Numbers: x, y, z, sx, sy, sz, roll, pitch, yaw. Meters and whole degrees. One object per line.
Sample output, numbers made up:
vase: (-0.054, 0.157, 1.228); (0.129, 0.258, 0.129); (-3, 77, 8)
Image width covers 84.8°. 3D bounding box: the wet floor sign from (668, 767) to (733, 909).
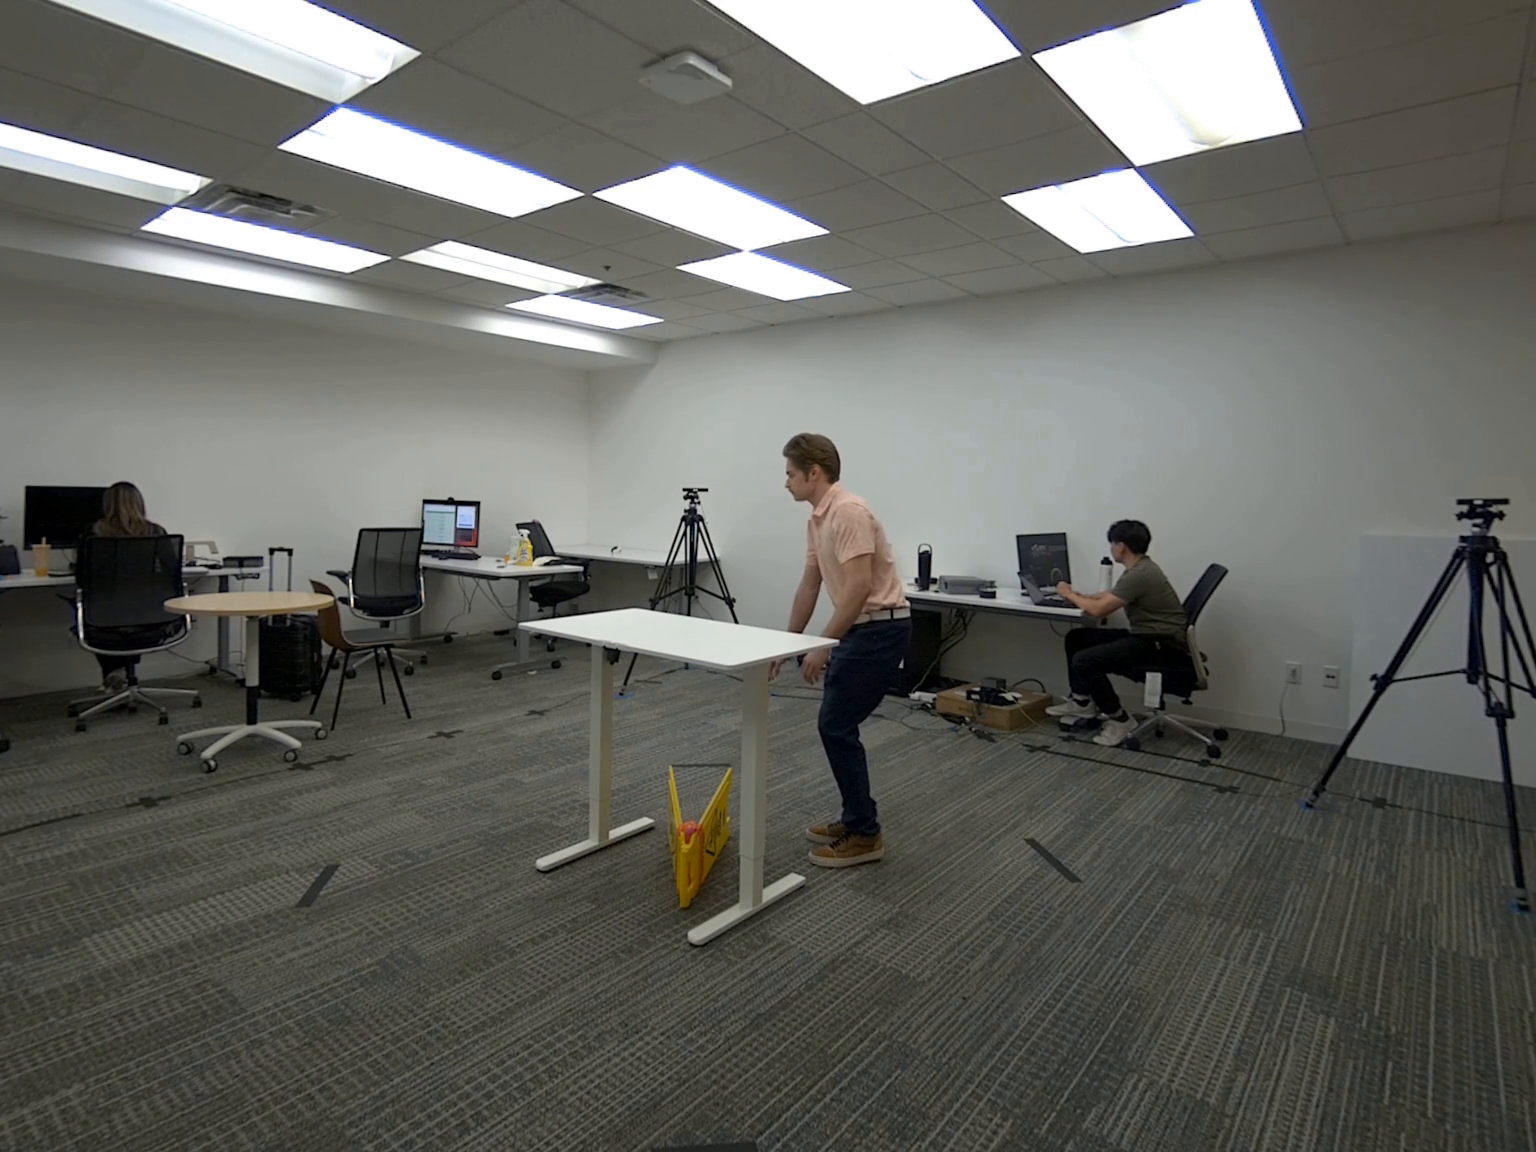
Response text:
wet floor sign: (-0.282, 0.943, 3.095); (0.290, 0.280, 0.649); (2, 9, 0)
